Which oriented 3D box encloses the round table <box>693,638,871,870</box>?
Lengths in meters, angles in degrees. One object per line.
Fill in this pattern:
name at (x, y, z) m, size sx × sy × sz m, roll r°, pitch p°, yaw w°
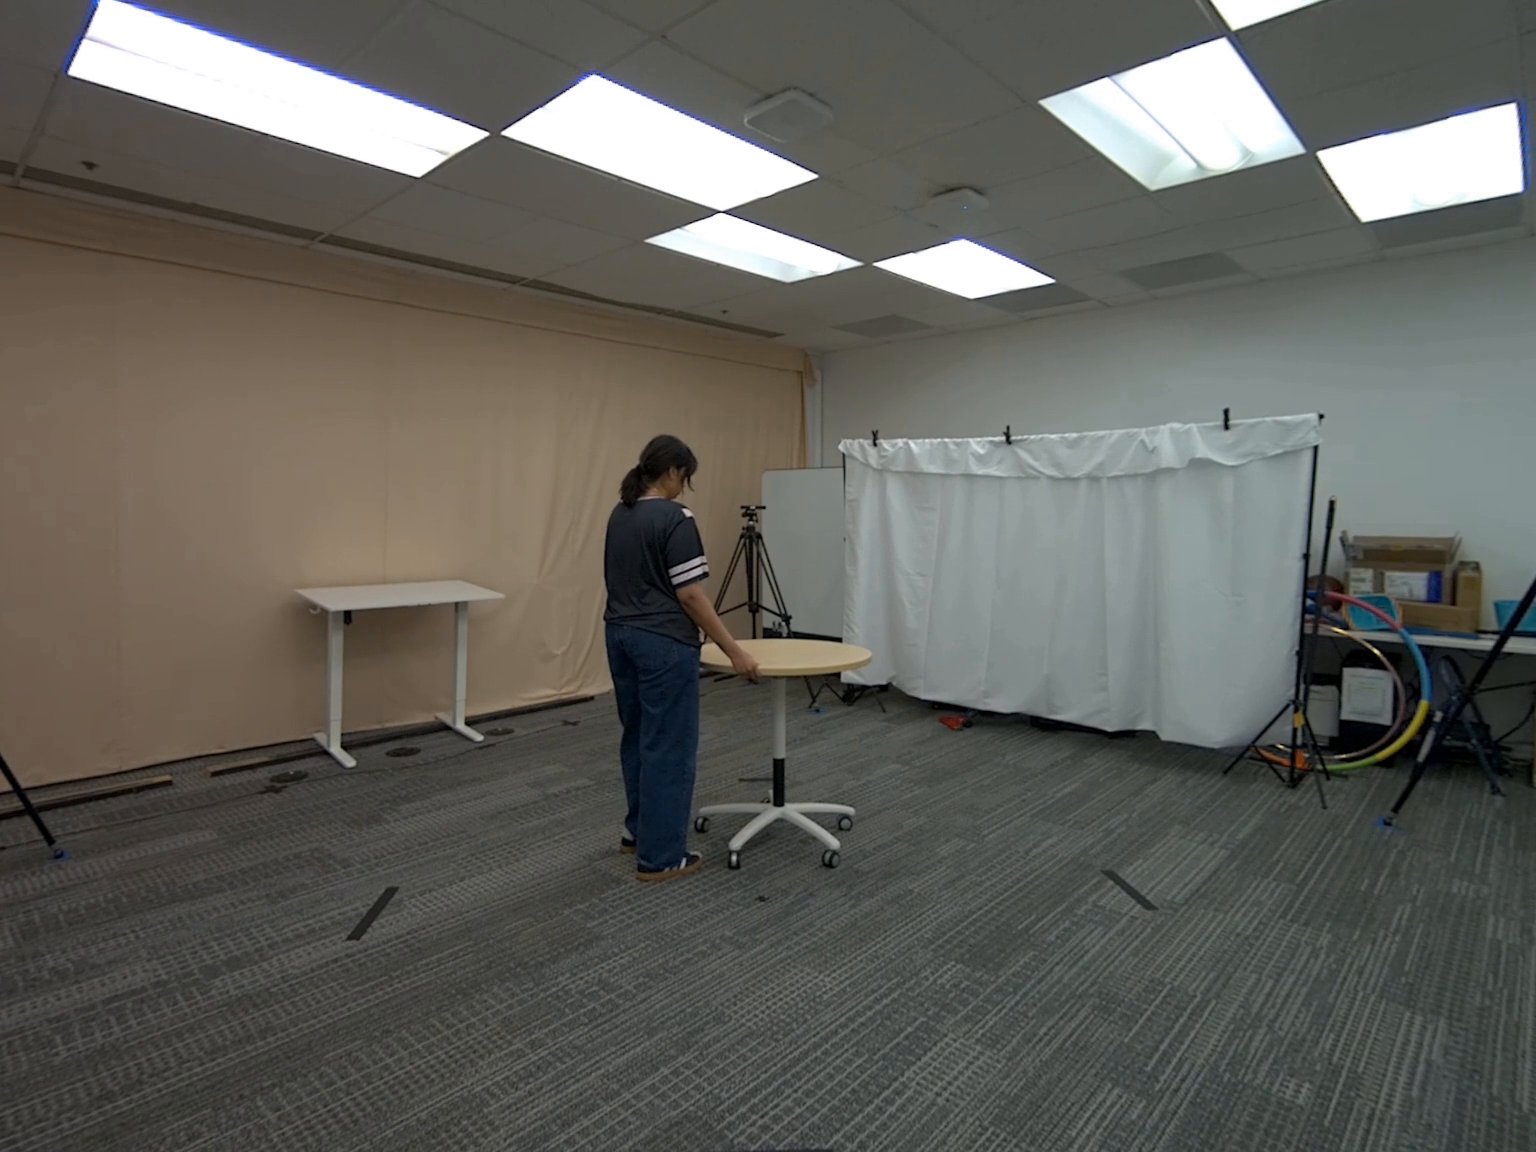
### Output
round table at (0.054, 0.710, 3.504) m, size 0.763 × 0.793 × 0.766 m, roll 0°, pitch 3°, yaw -2°
